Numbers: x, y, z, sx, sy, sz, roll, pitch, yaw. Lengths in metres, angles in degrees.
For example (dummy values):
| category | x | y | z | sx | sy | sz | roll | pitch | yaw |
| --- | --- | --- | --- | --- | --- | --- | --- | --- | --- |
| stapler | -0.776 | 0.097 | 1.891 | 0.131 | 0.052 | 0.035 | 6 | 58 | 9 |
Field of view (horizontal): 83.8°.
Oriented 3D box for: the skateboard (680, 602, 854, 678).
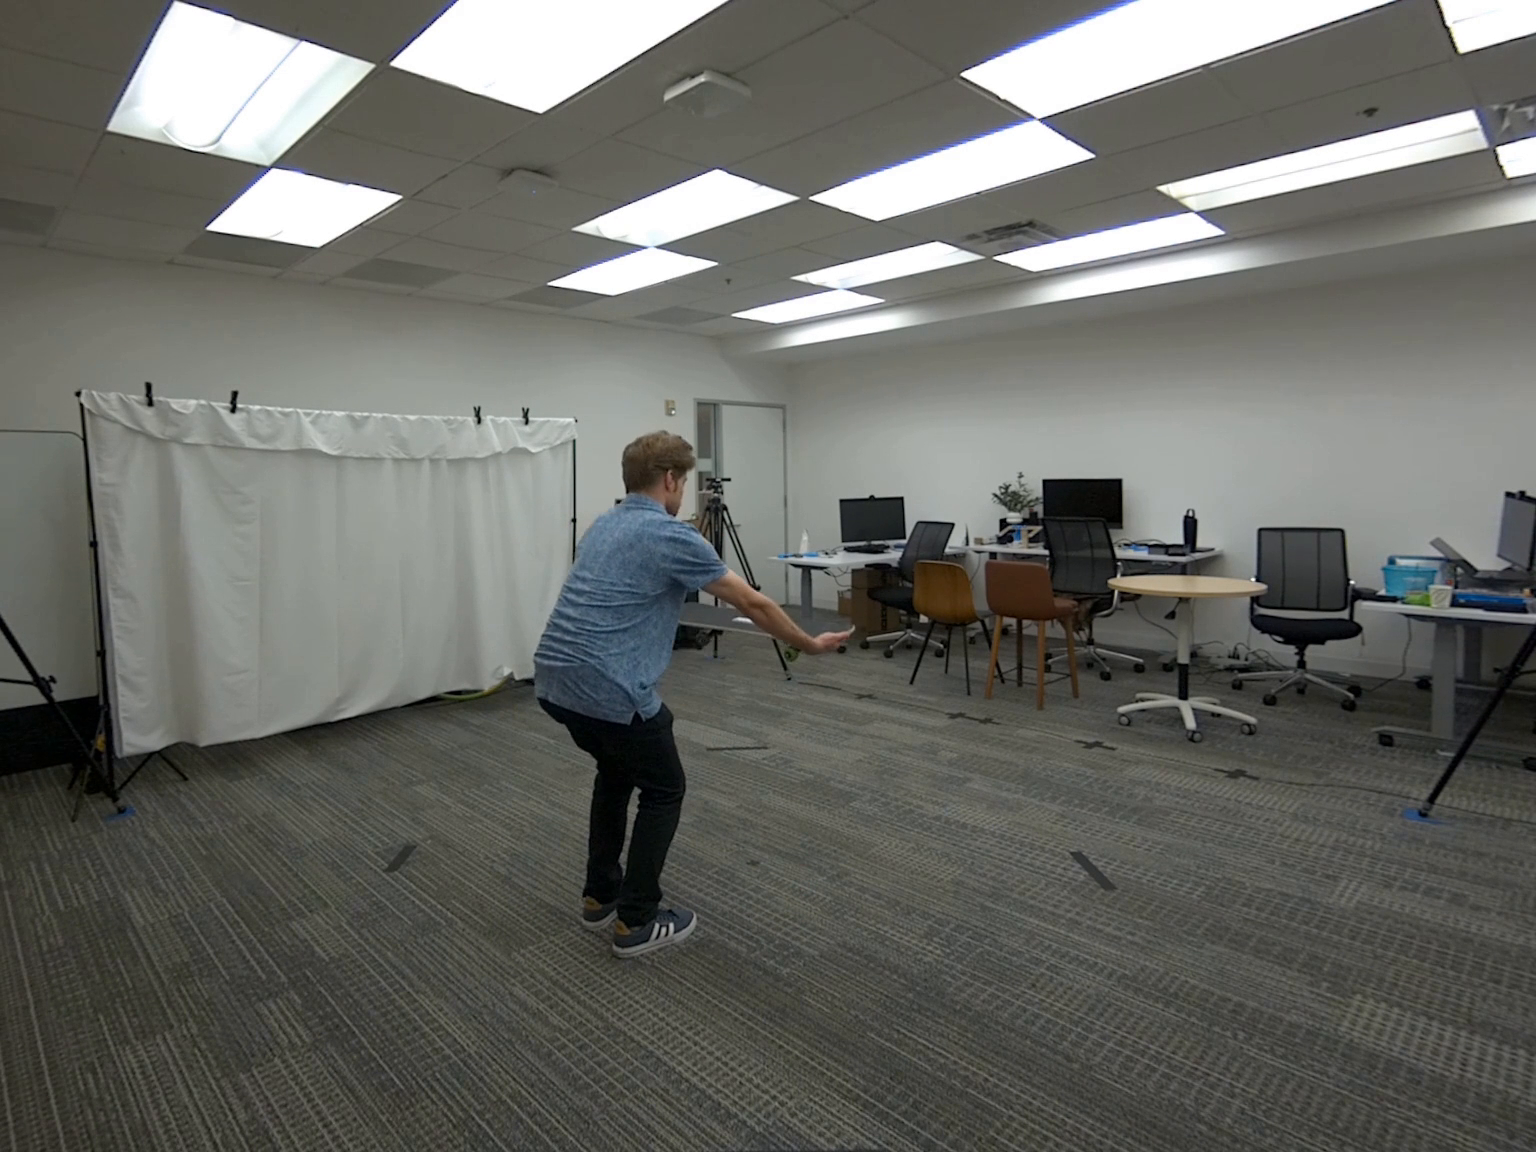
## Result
| category | x | y | z | sx | sy | sz | roll | pitch | yaw |
| --- | --- | --- | --- | --- | --- | --- | --- | --- | --- |
| skateboard | -0.044 | 0.204 | 3.035 | 0.810 | 0.109 | 0.190 | 6 | 17 | 40 |
